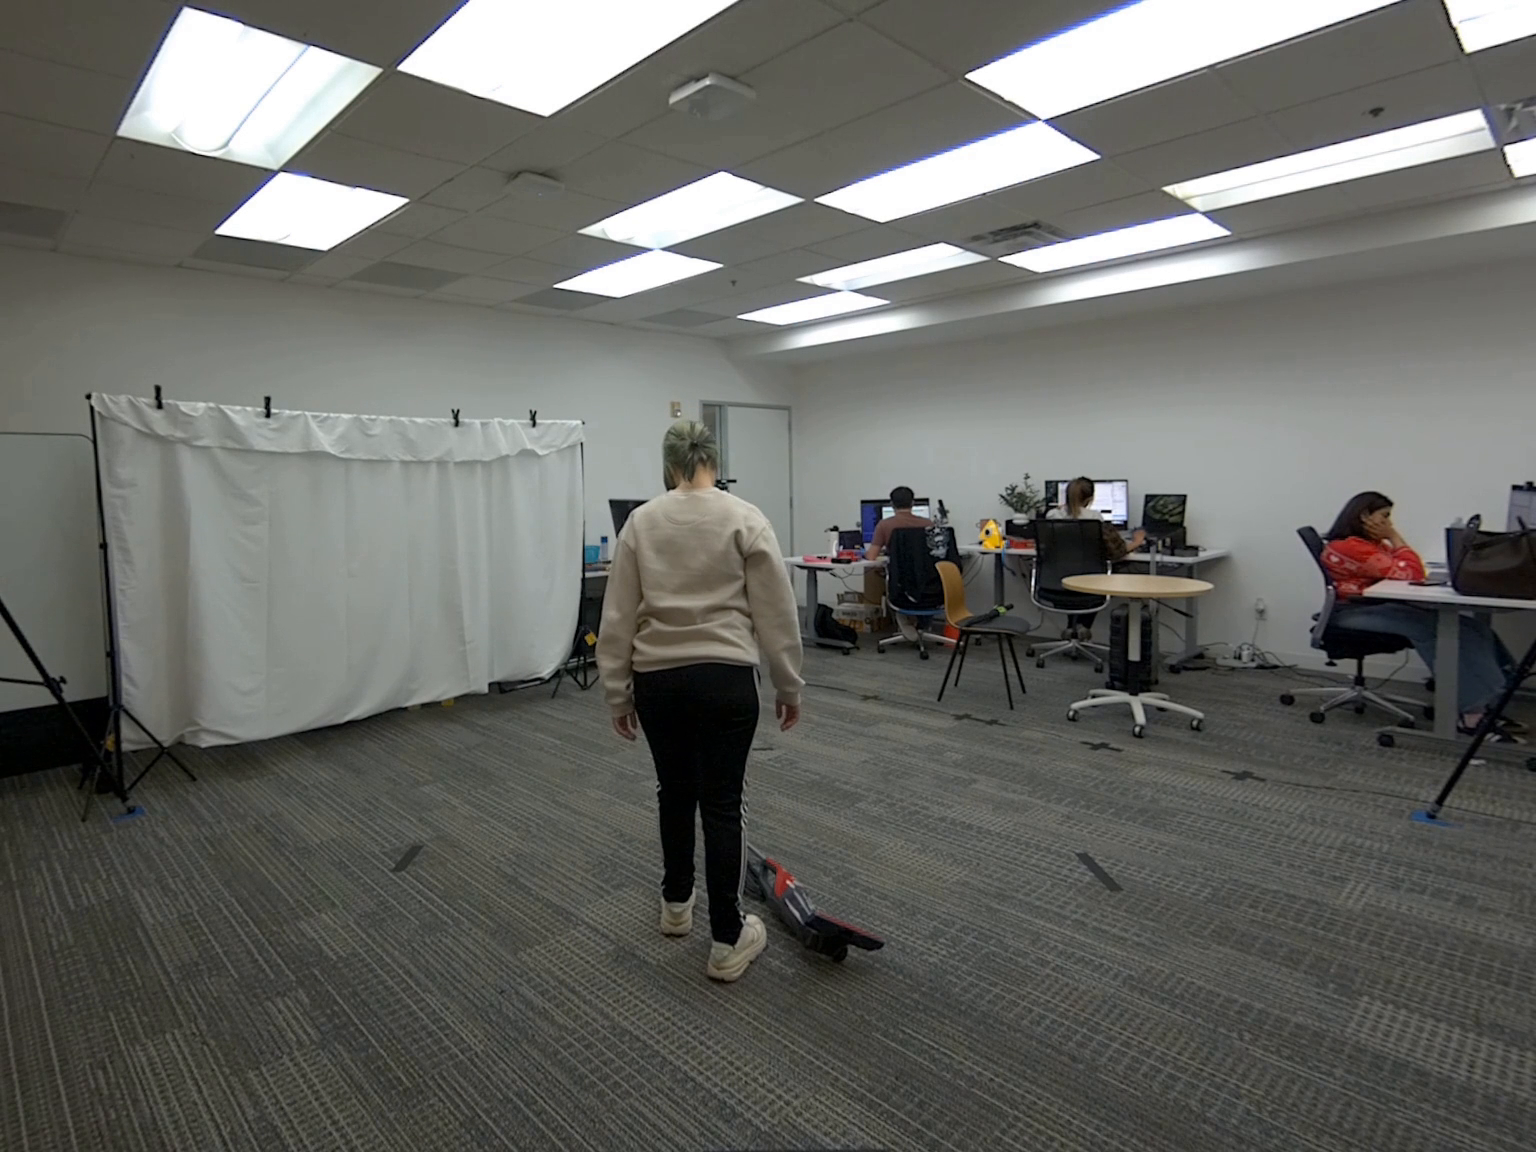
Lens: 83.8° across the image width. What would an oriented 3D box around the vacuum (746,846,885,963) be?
[{"bbox_3d":[-0.018,1.015,2.919,0.246,0.144,1.071,33,-11,-21],"label":"vacuum"}]
